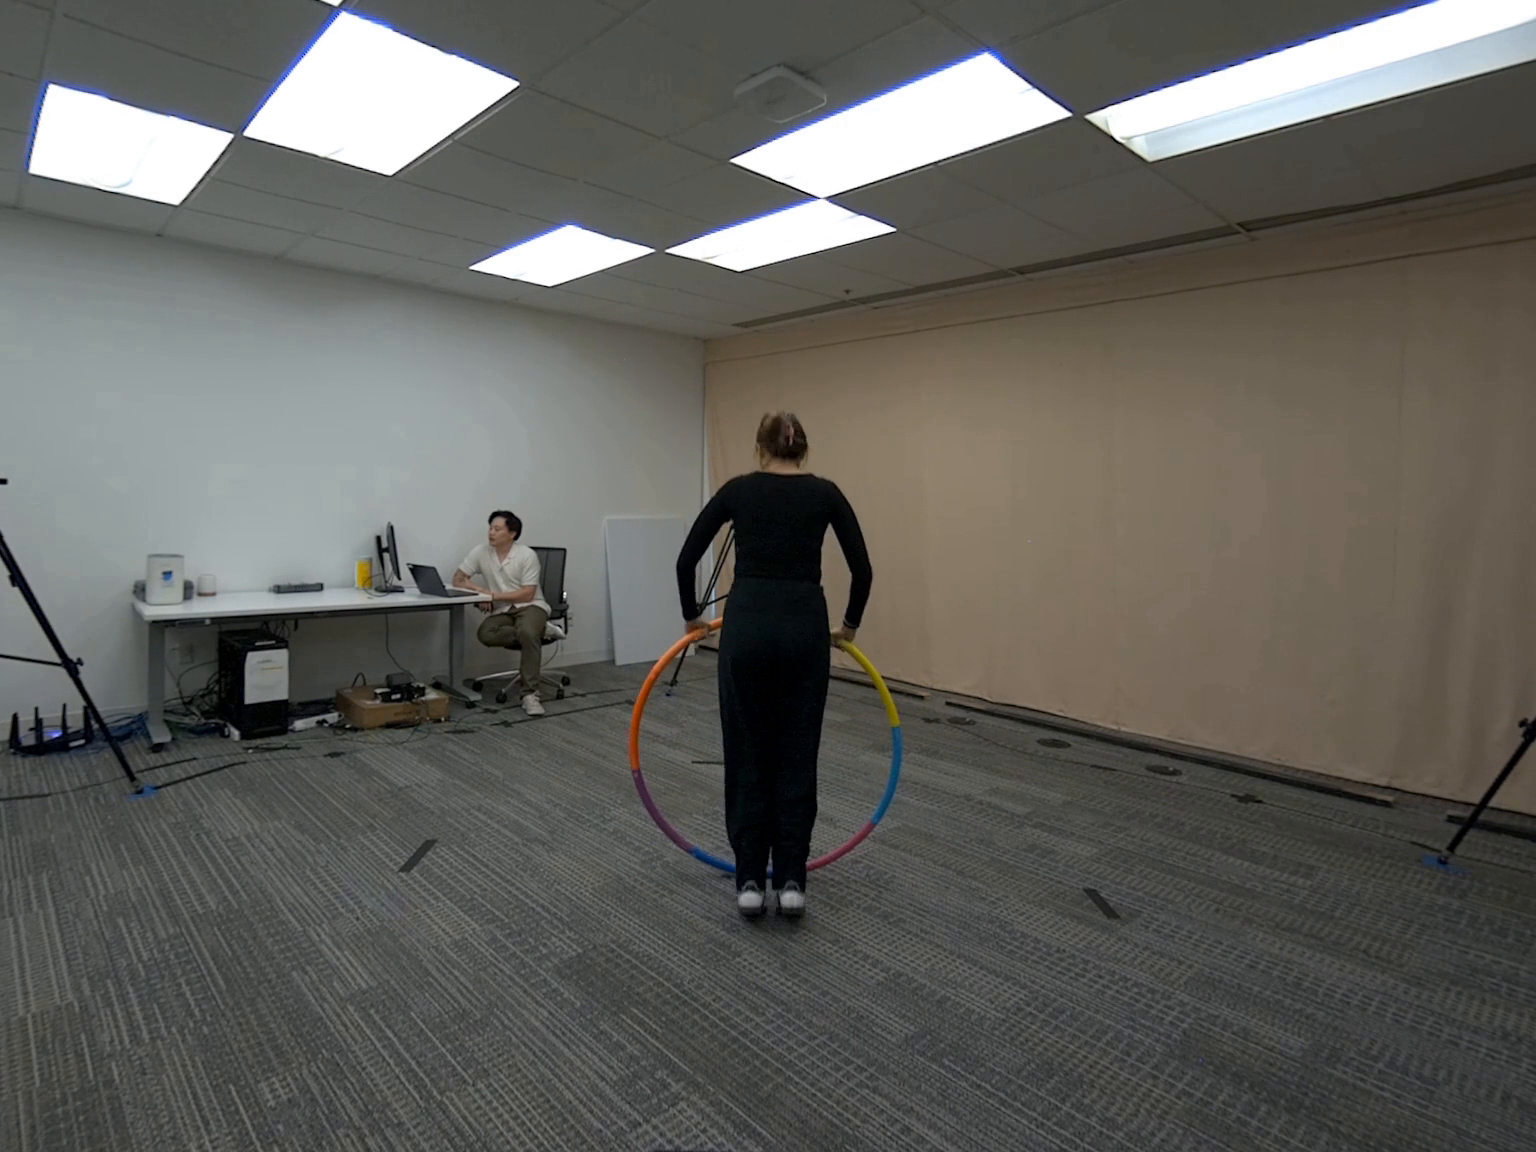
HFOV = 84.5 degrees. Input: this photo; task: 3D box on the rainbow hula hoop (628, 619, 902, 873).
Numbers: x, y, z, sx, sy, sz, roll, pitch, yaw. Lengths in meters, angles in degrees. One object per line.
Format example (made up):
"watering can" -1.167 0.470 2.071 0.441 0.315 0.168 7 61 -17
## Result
"rainbow hula hoop" -0.021 0.628 3.070 0.982 0.978 0.035 2 1 5
